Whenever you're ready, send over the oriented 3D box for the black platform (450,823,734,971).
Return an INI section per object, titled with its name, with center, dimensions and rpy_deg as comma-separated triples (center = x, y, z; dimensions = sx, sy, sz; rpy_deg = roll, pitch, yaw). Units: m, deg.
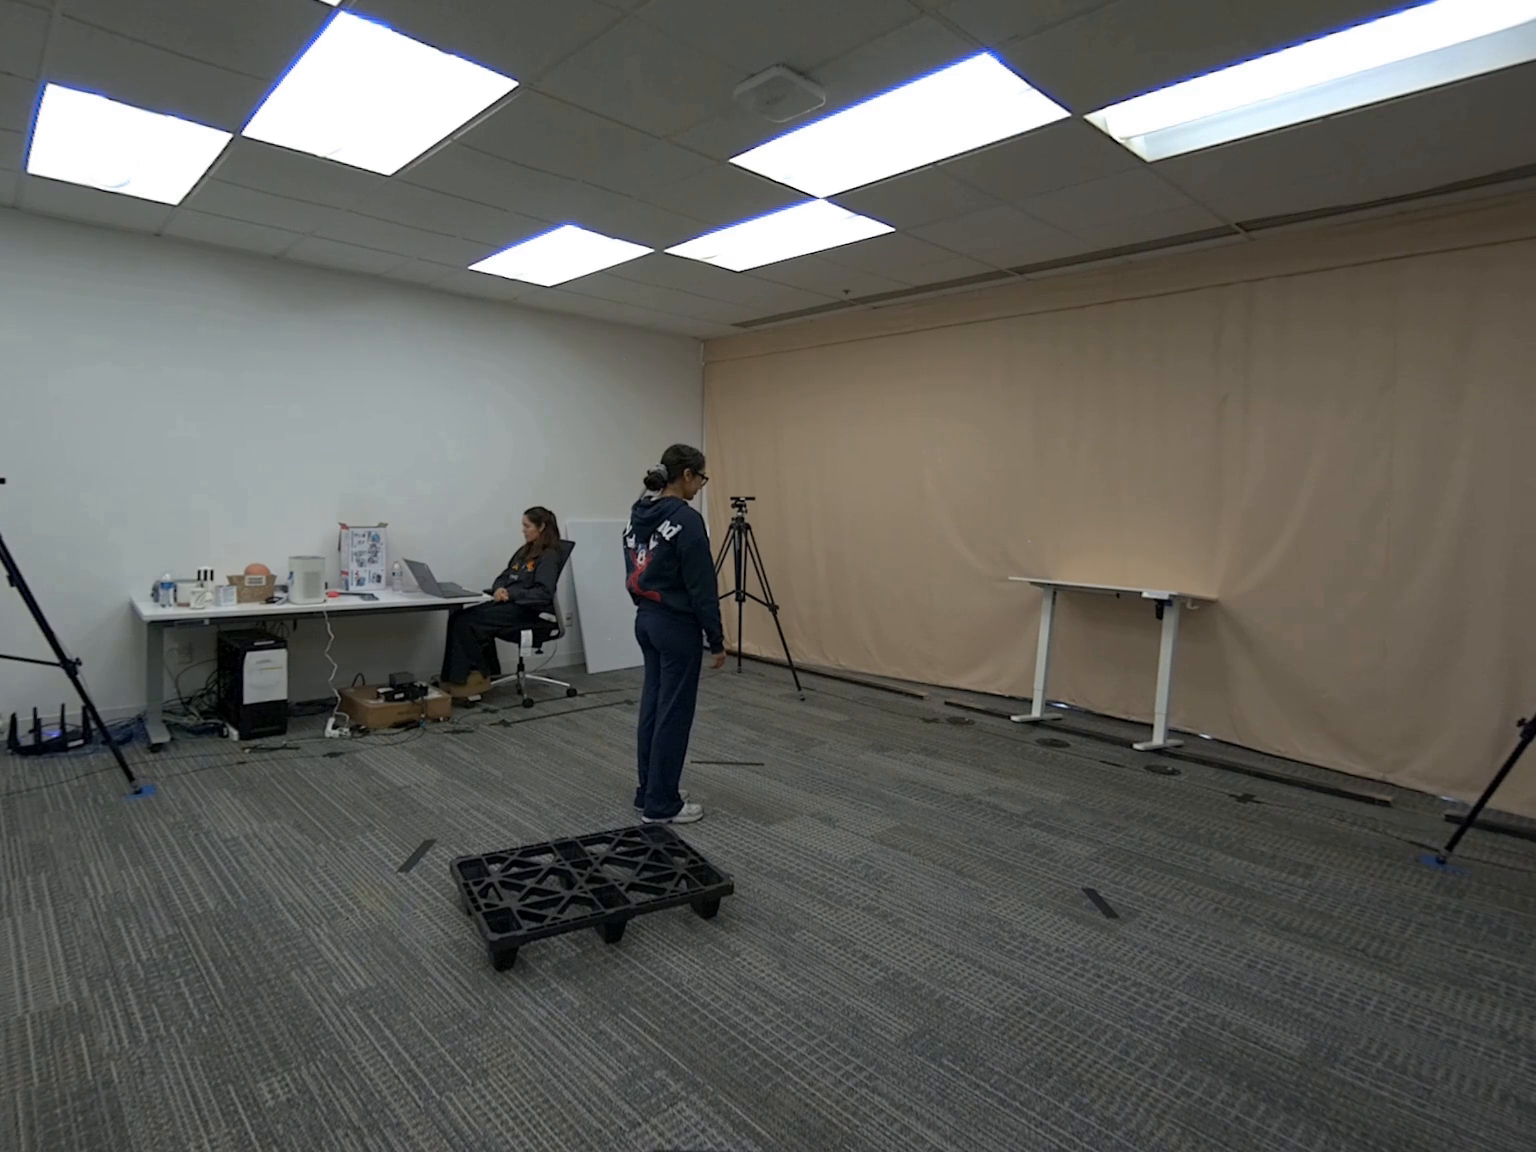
[black platform]
center = -0.600, 1.056, 2.817
dimensions = 0.789, 0.143, 0.619
rpy_deg = -2, 7, -31
